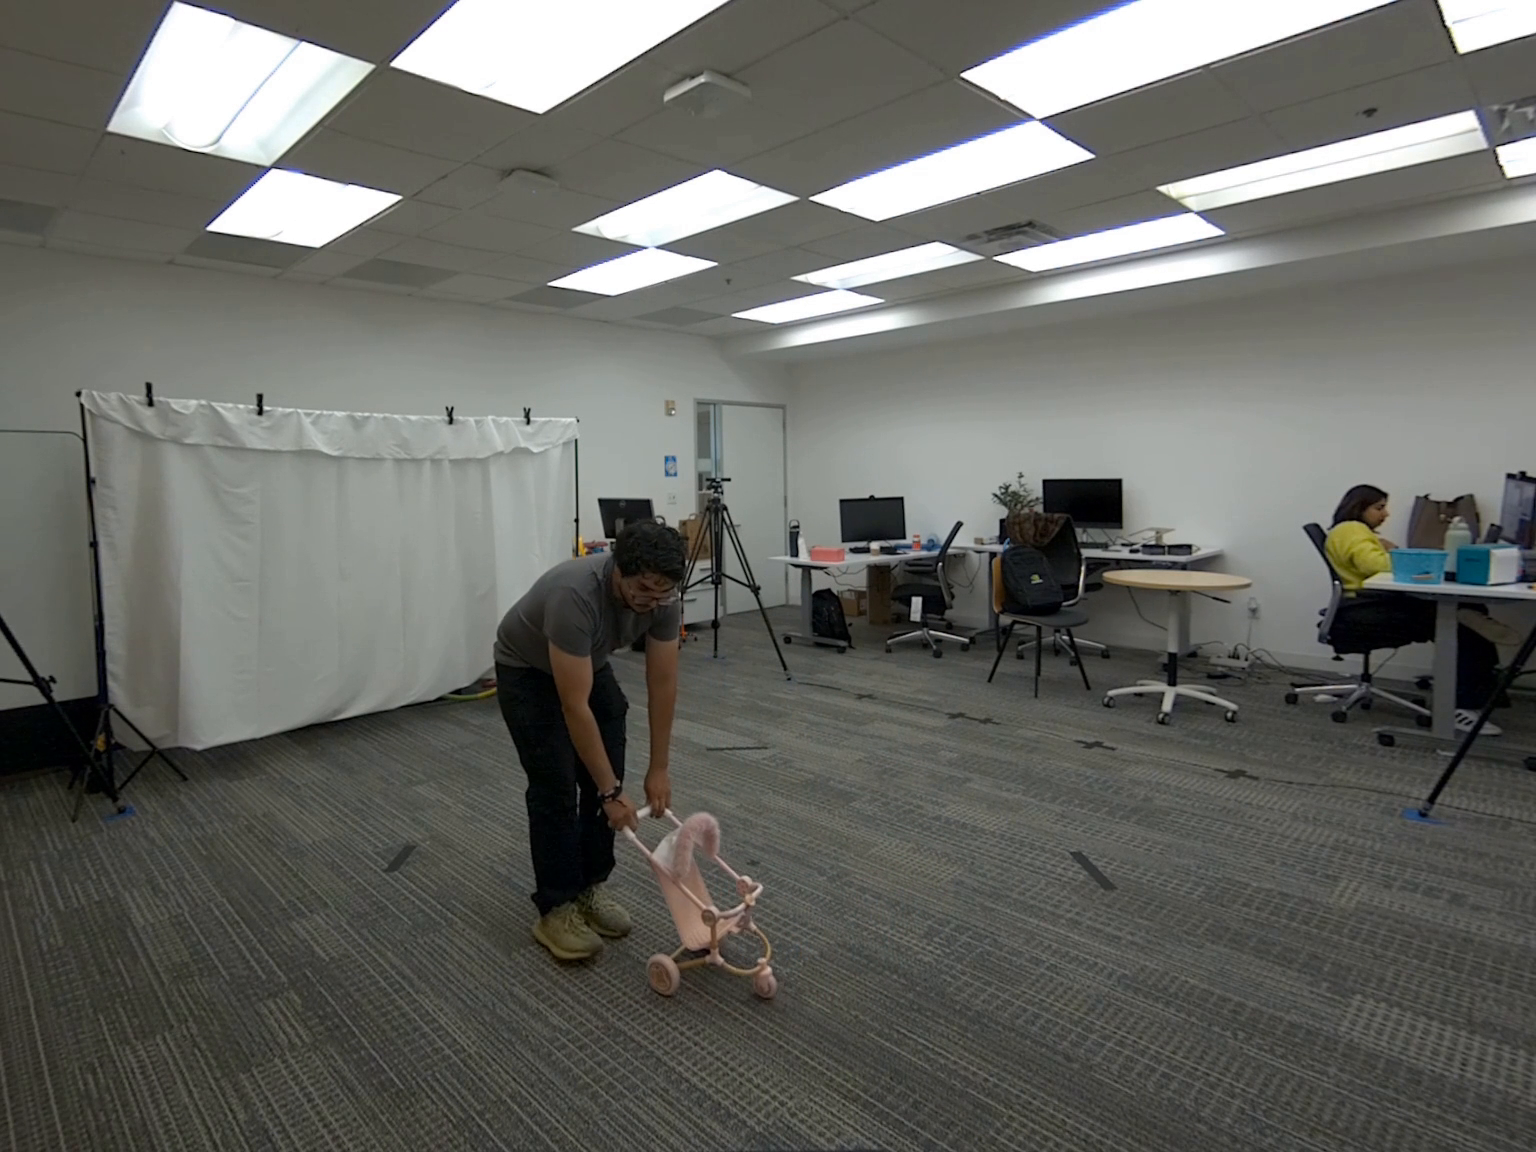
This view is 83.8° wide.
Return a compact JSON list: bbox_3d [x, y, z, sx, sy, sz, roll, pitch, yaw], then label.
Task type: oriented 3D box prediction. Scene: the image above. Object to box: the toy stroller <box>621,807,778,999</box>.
[{"bbox_3d":[-0.173,0.905,2.388,0.348,0.538,0.275,-17,-5,34],"label":"toy stroller"}]
